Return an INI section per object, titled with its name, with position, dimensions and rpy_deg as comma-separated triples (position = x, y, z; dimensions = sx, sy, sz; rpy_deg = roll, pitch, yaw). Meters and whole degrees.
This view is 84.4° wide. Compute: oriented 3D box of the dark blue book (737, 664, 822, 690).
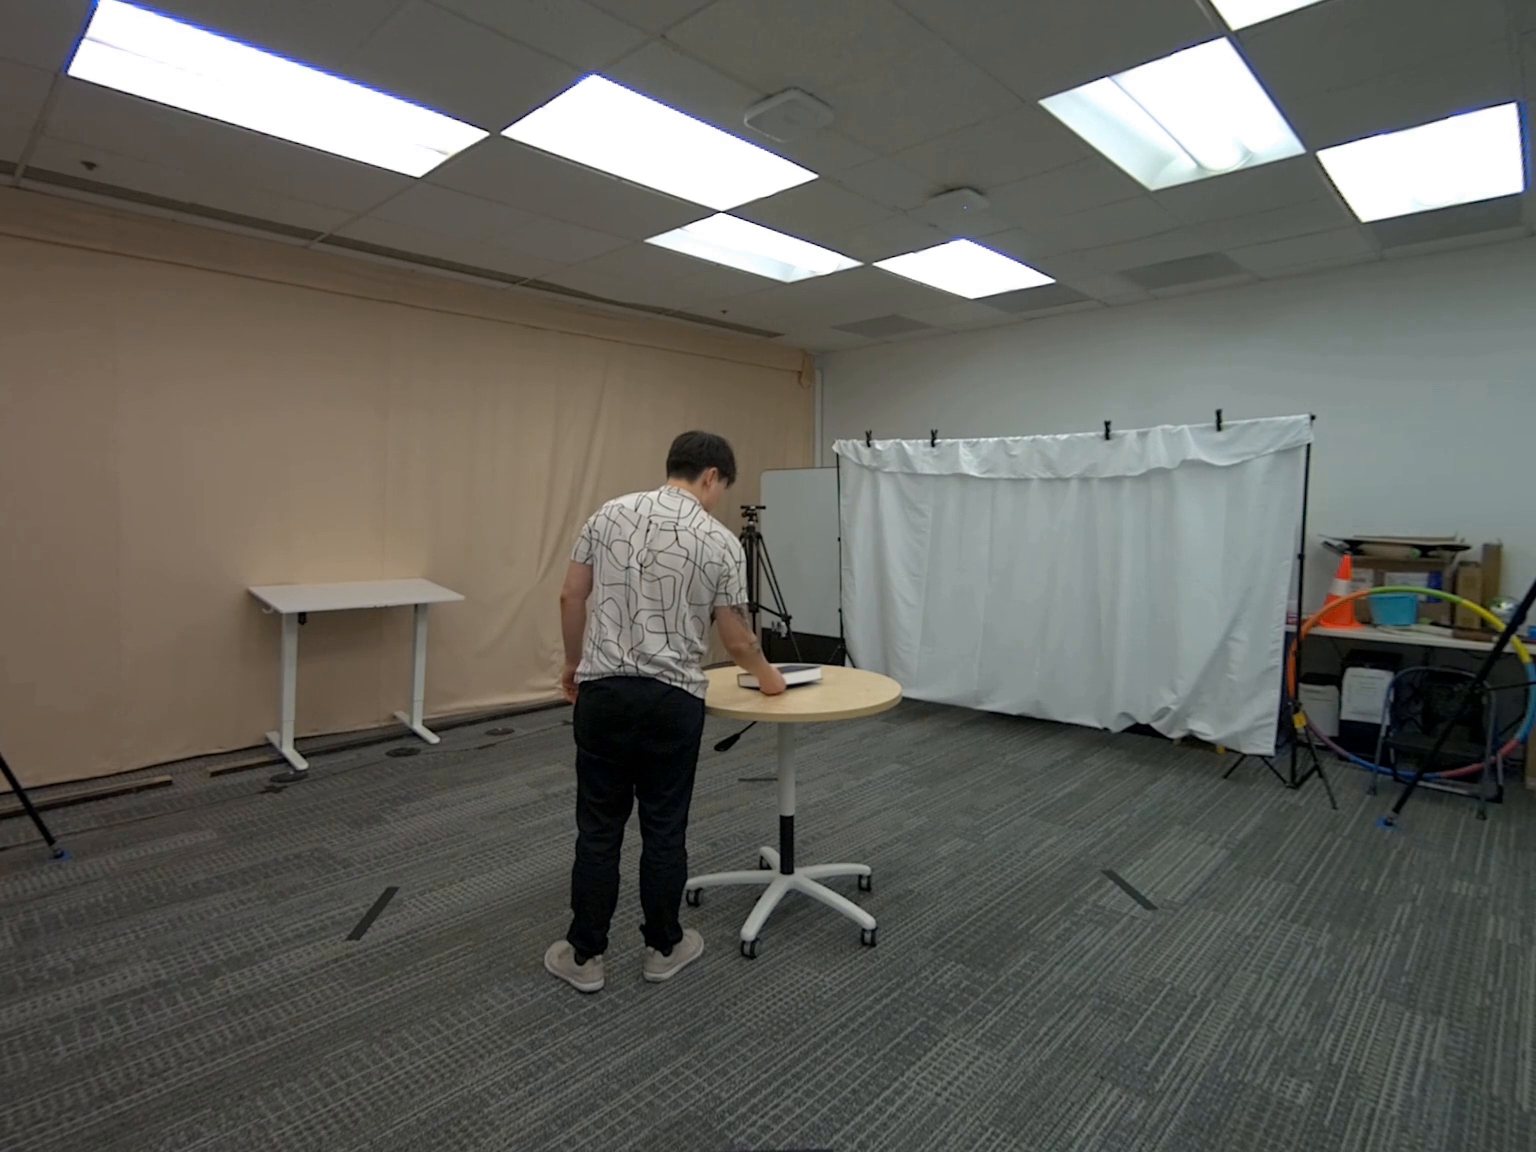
[dark blue book]
position = 0.047, 0.344, 2.851
dimensions = 0.238, 0.045, 0.168
rpy_deg = -5, 0, -37
